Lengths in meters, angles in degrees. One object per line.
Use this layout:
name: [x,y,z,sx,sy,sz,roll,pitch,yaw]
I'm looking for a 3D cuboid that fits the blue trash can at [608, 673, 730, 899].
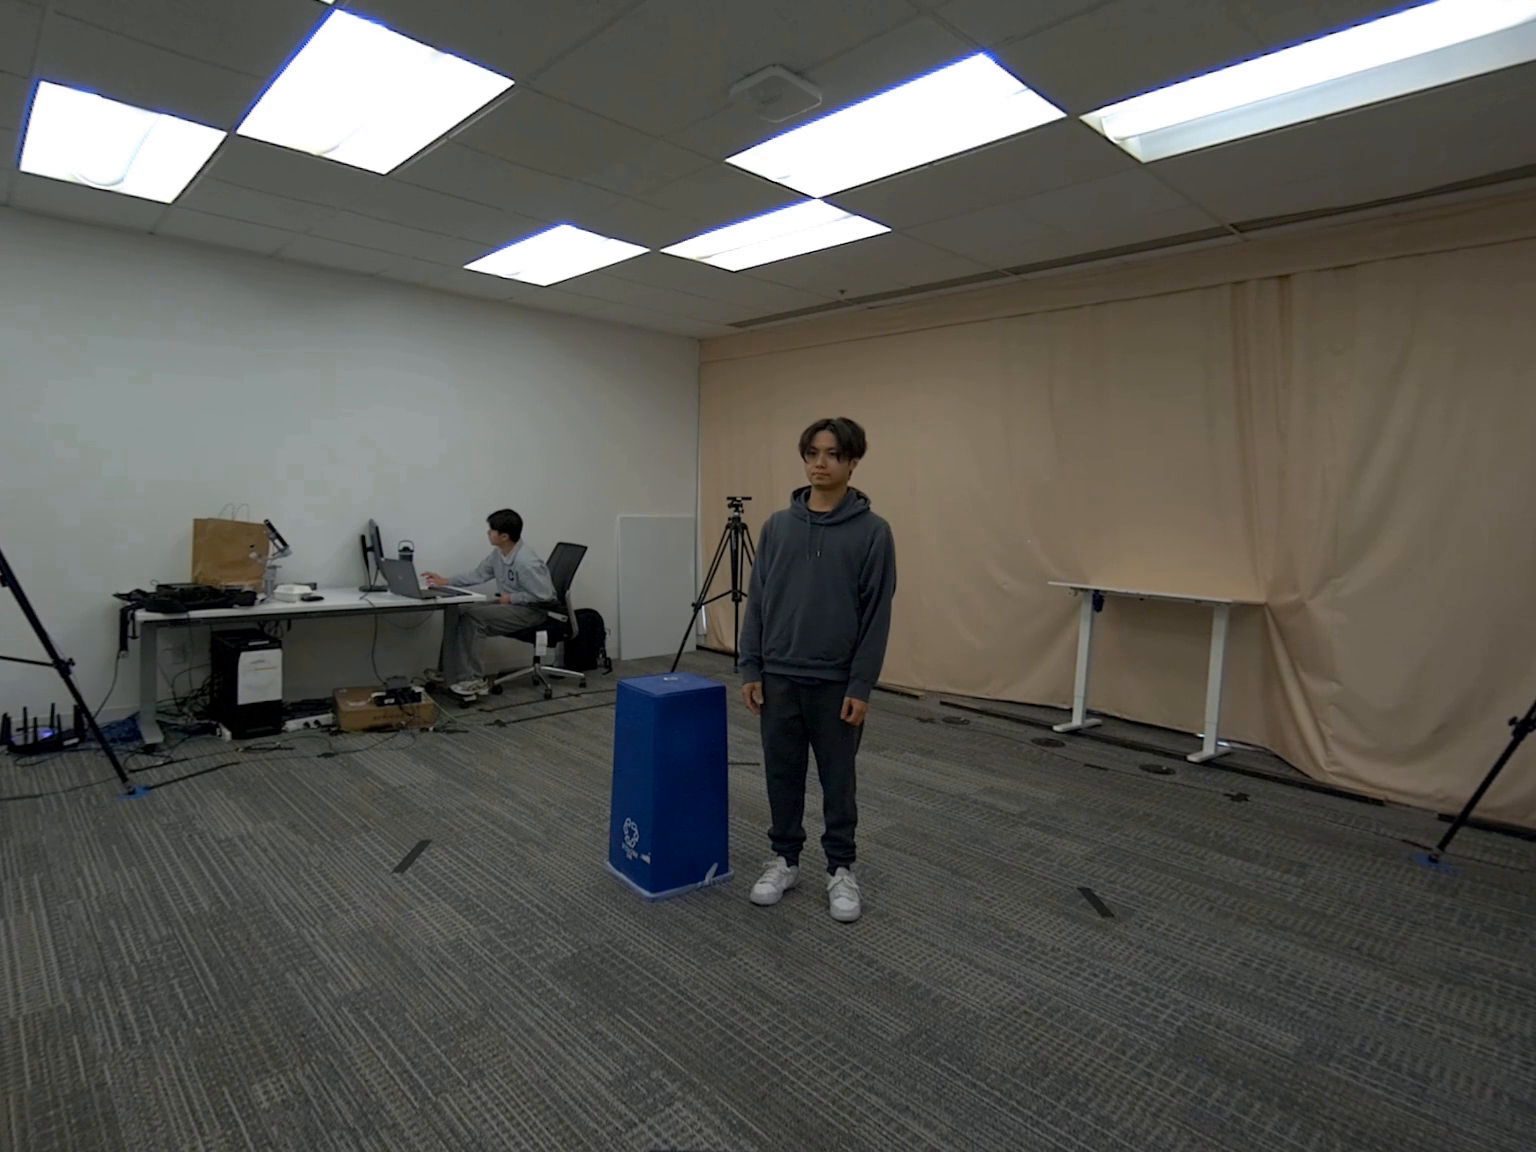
blue trash can: [-0.371,0.744,3.120,0.369,0.712,0.383,-1,3,-37]
